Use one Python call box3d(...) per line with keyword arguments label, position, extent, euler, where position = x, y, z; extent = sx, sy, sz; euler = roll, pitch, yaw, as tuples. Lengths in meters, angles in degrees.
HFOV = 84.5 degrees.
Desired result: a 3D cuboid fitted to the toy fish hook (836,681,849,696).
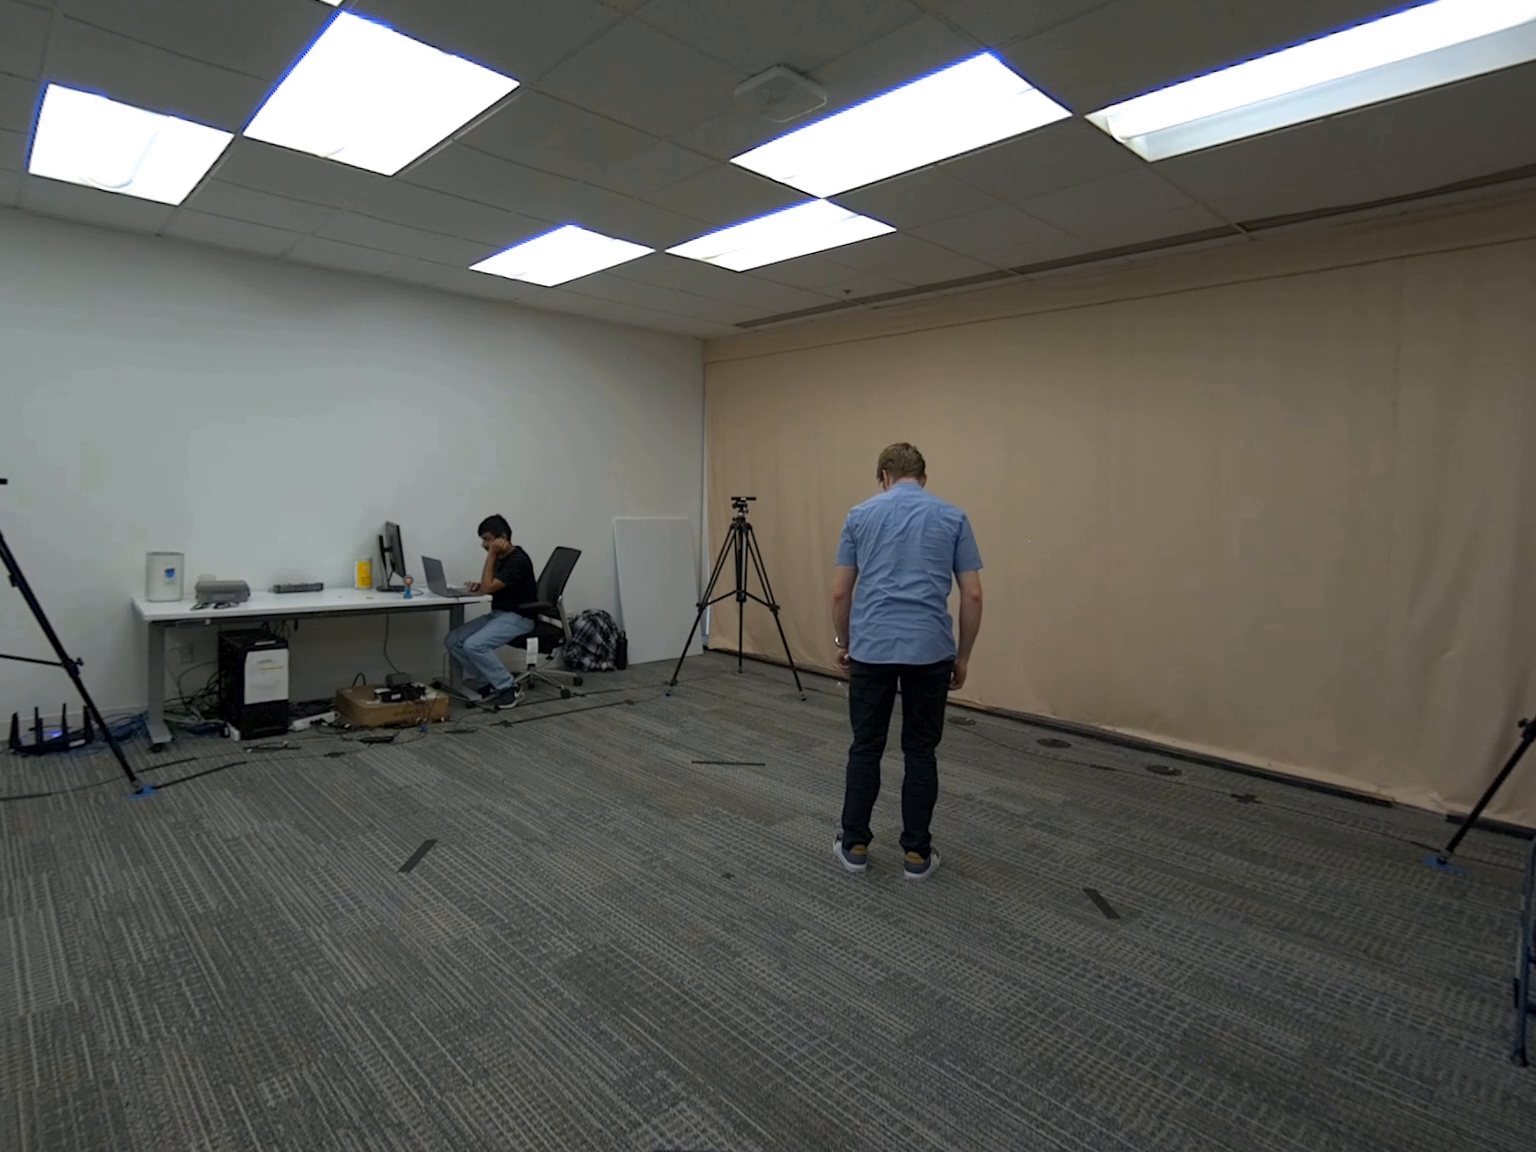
box3d(label="toy fish hook", position=(0.351, 0.461, 3.529), extent=(0.231, 0.048, 0.491), euler=(20, -29, 37))
